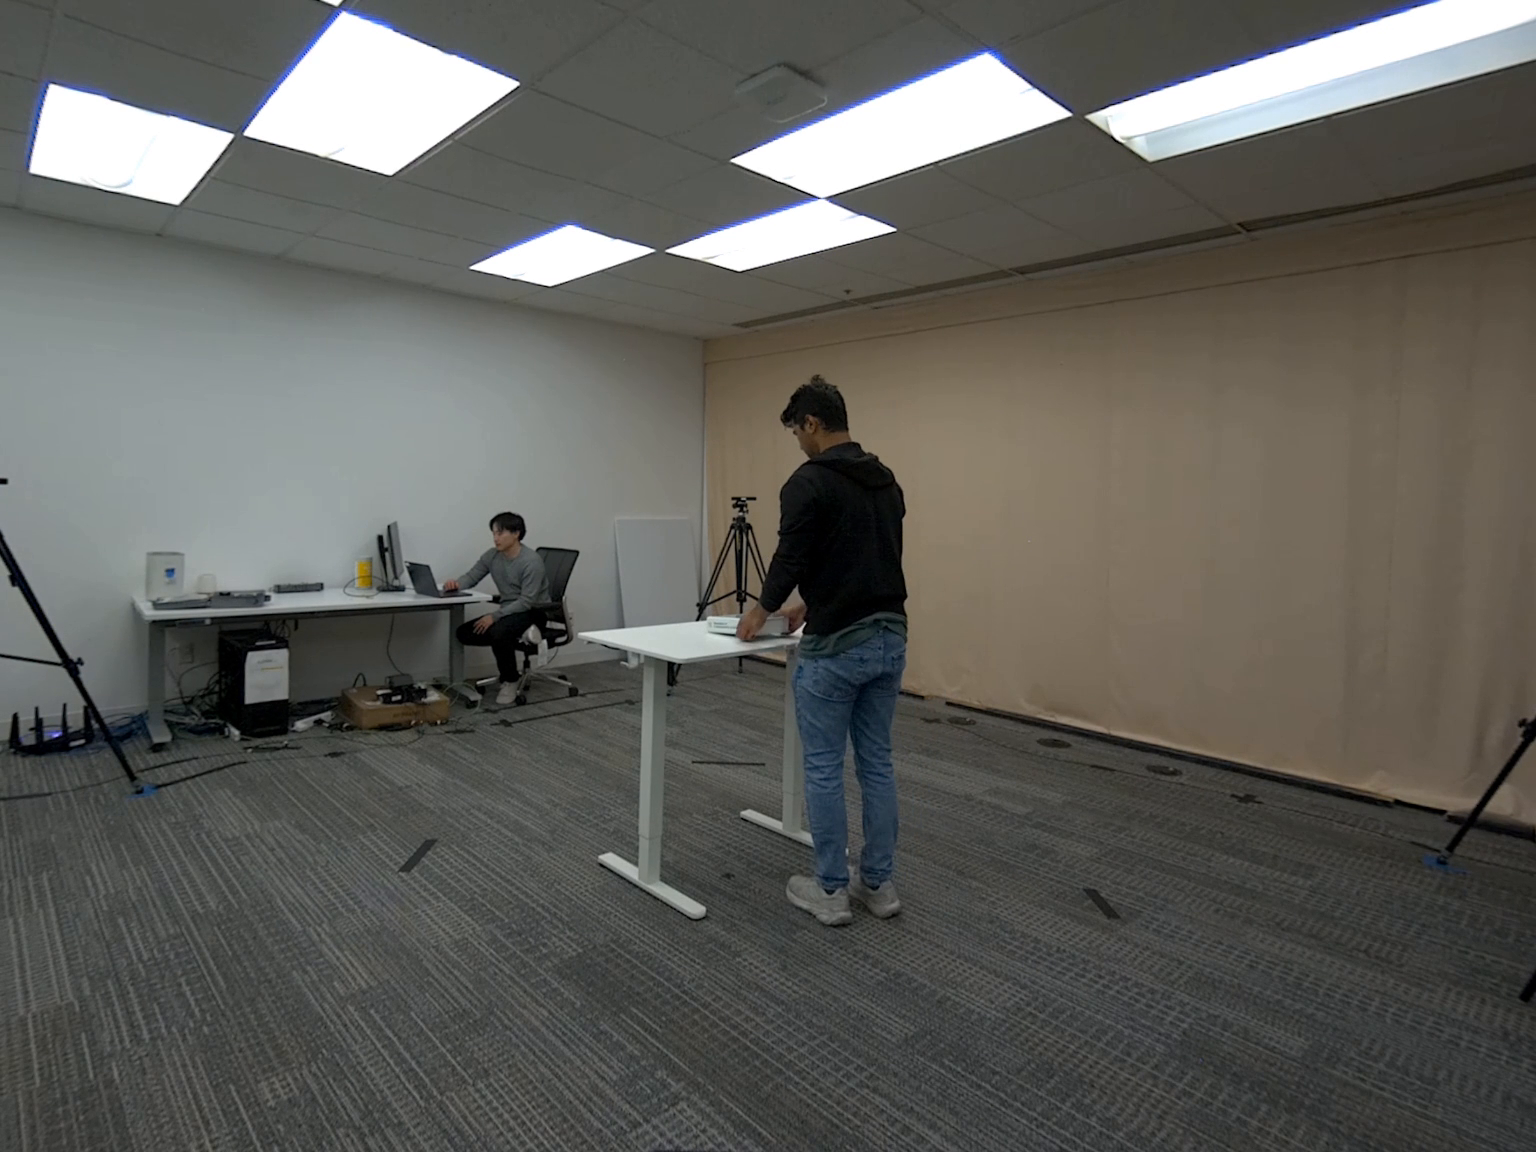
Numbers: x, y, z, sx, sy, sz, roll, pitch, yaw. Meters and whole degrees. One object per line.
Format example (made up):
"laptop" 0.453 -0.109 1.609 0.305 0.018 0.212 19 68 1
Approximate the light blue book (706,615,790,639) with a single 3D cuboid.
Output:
"light blue book" -0.078 0.187 3.172 0.187 0.059 0.267 -3 5 -44
